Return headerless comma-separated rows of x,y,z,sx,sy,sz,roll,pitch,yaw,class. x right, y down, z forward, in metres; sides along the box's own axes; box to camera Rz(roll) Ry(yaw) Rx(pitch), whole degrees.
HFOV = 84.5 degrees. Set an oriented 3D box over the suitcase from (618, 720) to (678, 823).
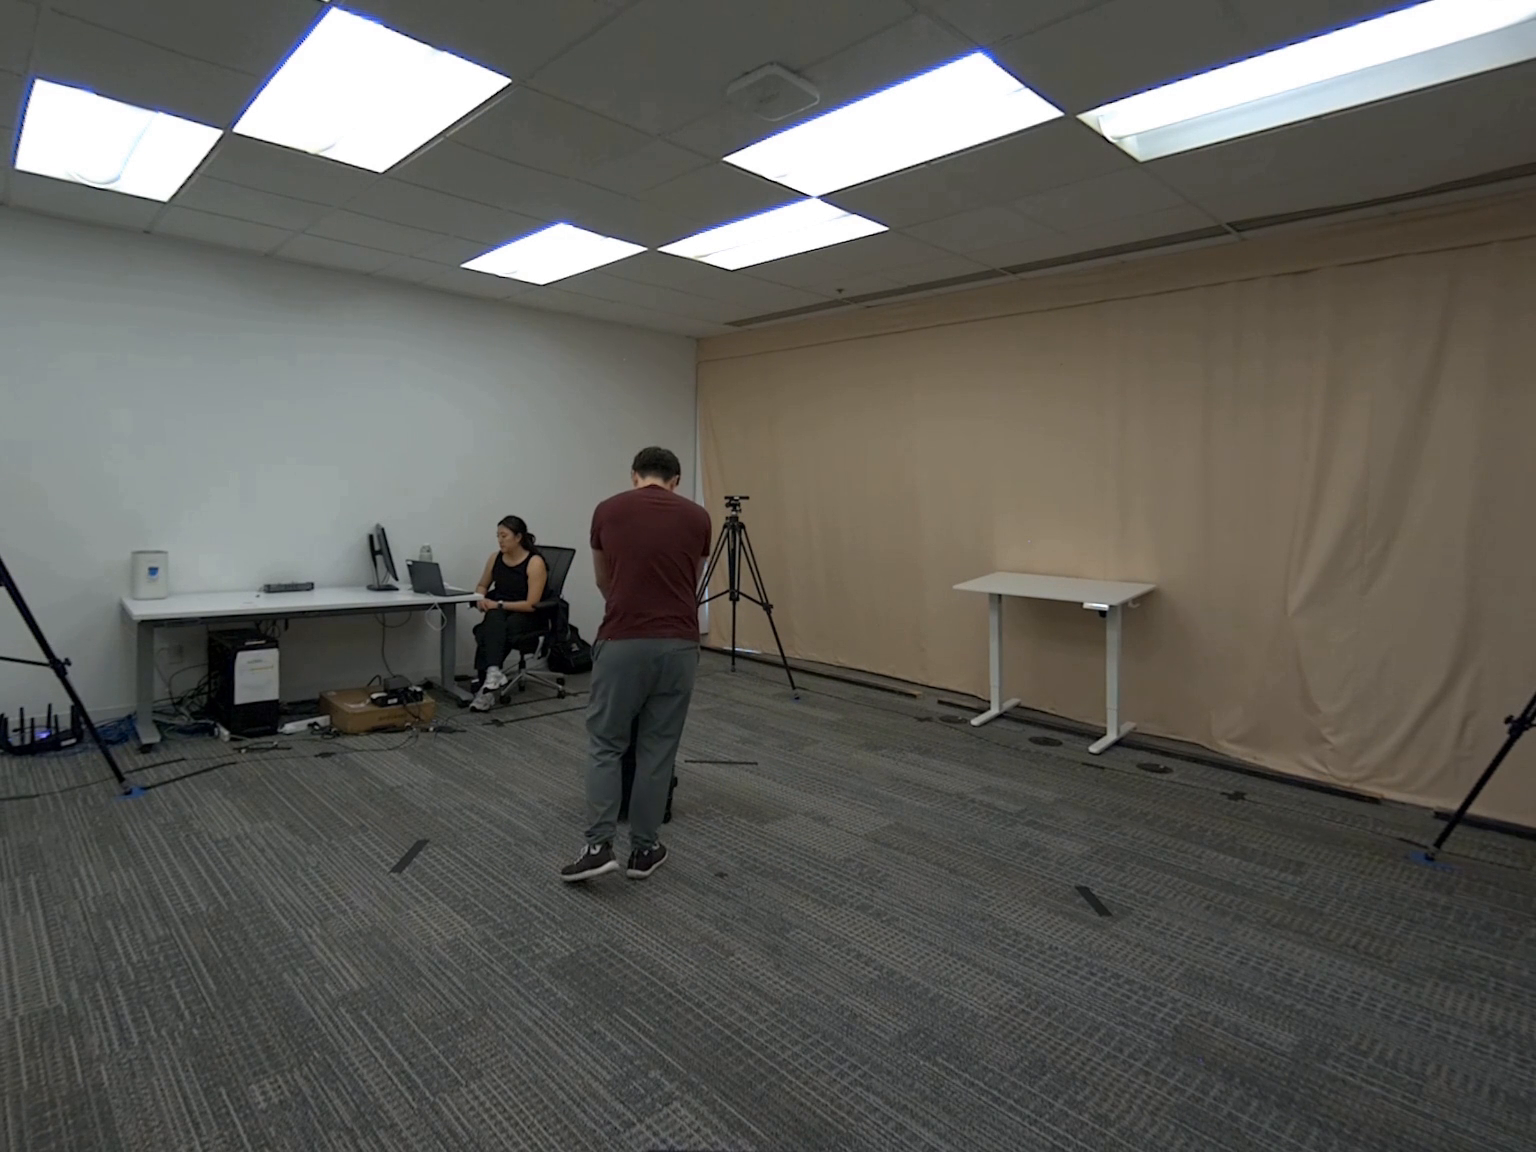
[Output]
-0.587,0.572,3.681,0.382,0.979,0.258,3,0,-7,suitcase
